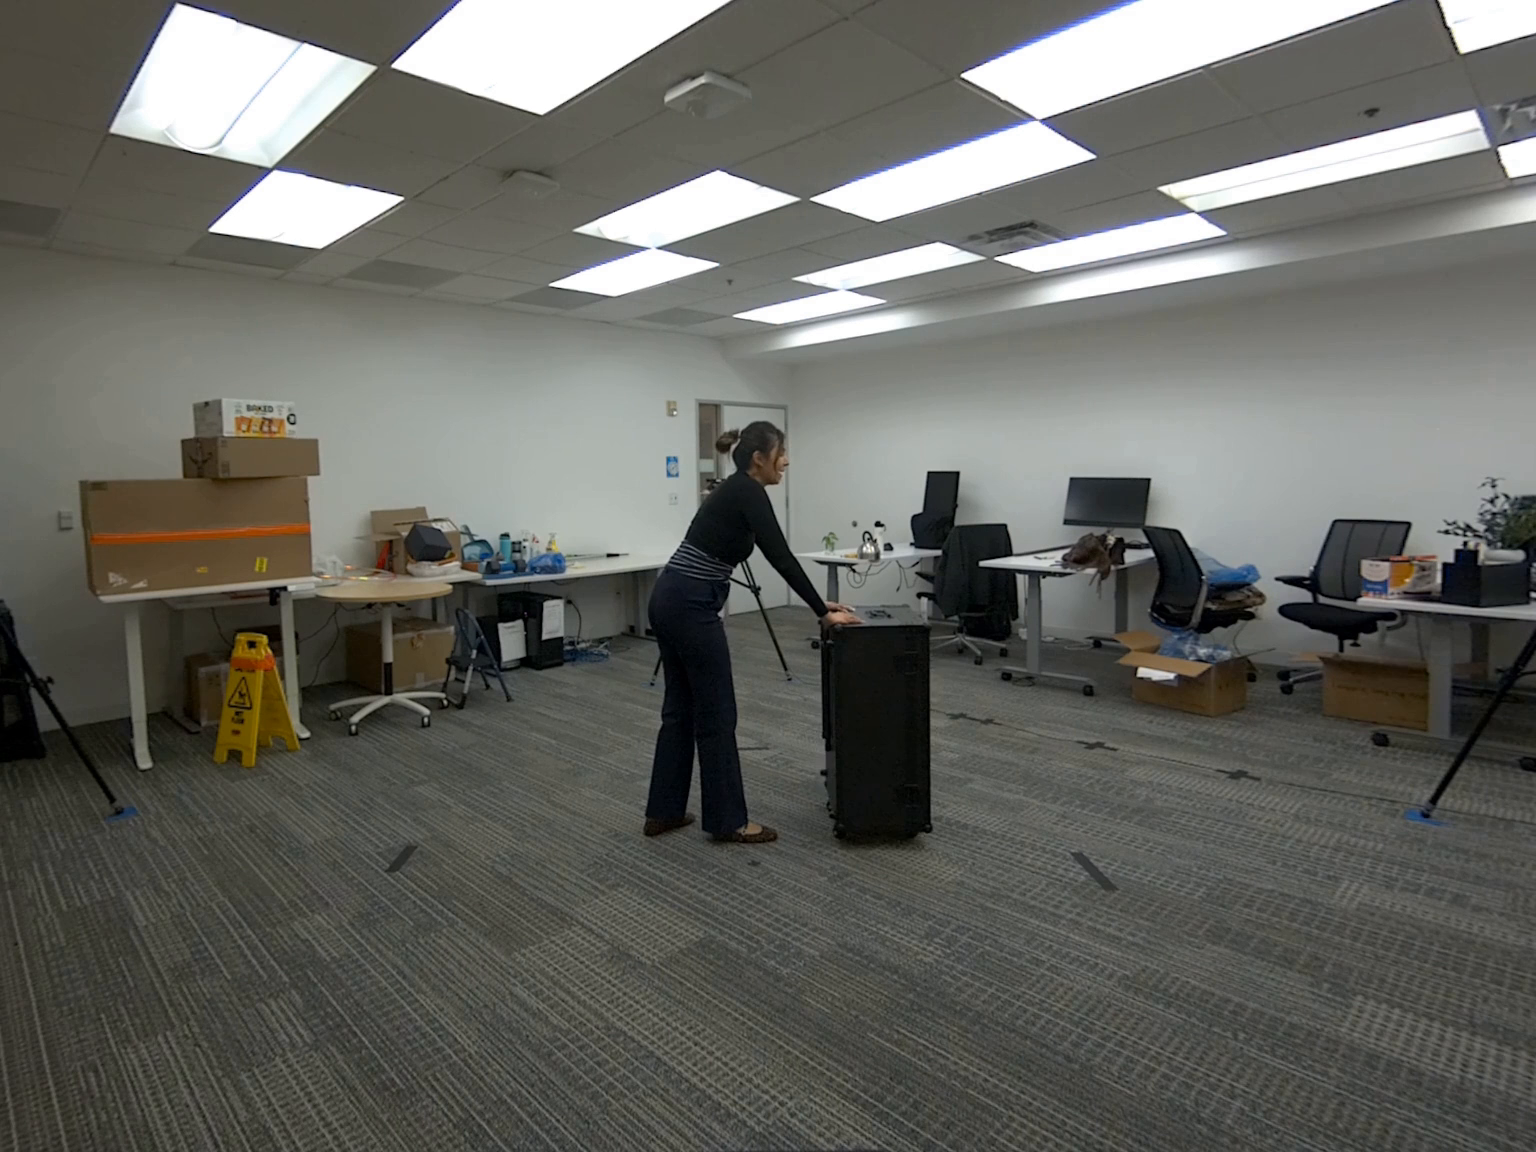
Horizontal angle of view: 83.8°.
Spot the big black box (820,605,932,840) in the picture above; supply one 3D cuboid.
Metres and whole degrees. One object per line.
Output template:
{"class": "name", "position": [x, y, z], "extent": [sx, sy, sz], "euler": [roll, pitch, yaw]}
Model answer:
{"class": "big black box", "position": [0.416, 0.579, 3.399], "extent": [0.397, 0.857, 0.523], "euler": [-1, 5, 0]}
